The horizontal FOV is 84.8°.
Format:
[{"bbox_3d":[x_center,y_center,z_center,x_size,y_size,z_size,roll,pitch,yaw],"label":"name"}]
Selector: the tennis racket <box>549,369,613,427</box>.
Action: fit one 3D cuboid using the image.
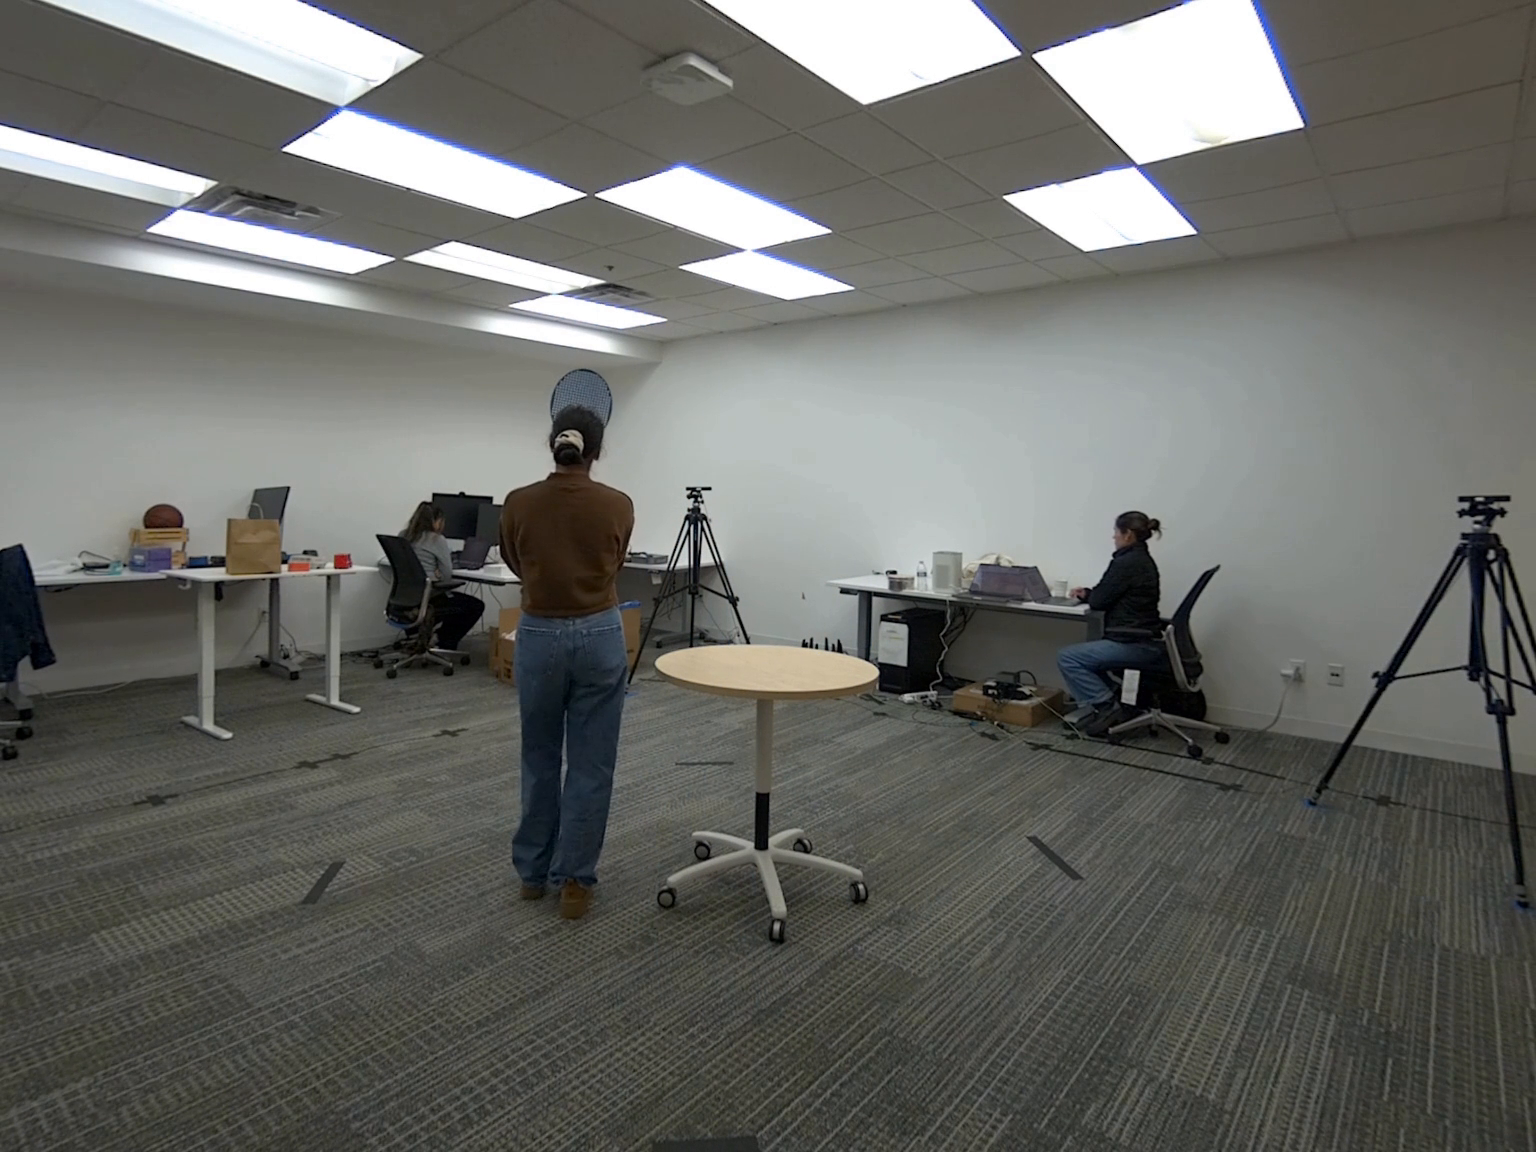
[{"bbox_3d":[-0.677,-0.518,2.960,0.212,0.434,0.032,8,-4,-7],"label":"tennis racket"}]
